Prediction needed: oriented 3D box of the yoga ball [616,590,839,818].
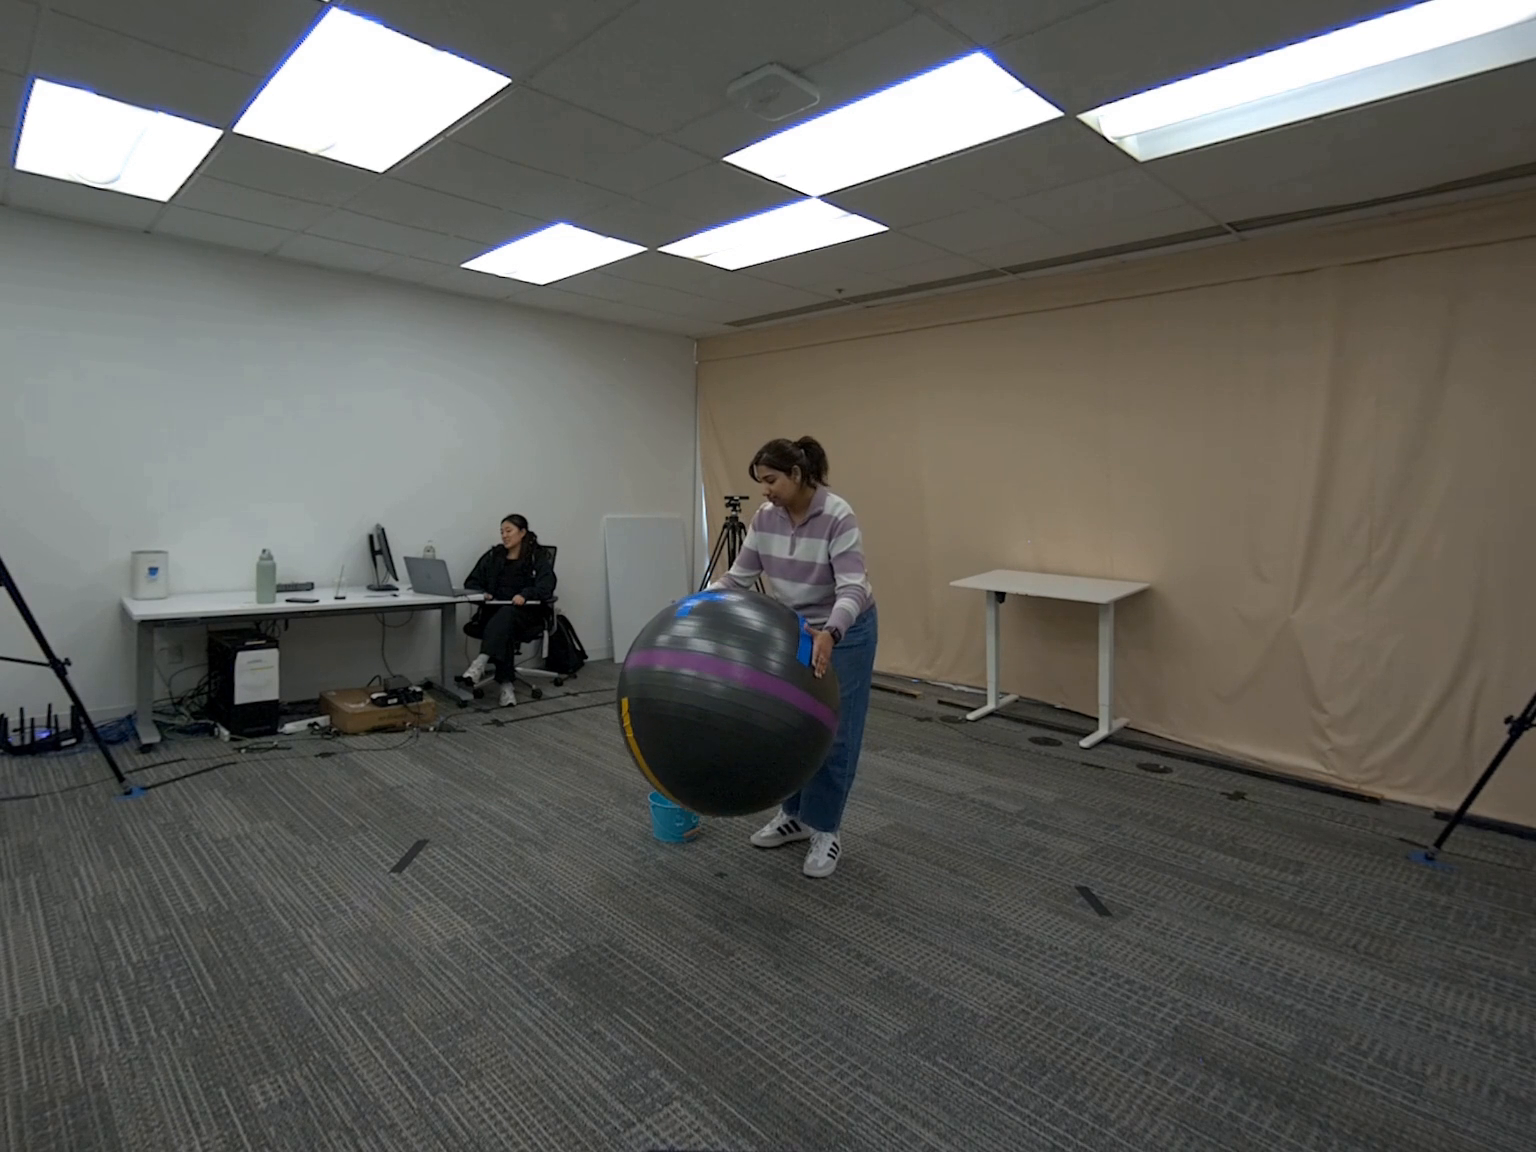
[{"bbox_3d":[-0.139,0.431,2.874,0.757,0.756,0.761,1,4,-1],"label":"yoga ball"}]
